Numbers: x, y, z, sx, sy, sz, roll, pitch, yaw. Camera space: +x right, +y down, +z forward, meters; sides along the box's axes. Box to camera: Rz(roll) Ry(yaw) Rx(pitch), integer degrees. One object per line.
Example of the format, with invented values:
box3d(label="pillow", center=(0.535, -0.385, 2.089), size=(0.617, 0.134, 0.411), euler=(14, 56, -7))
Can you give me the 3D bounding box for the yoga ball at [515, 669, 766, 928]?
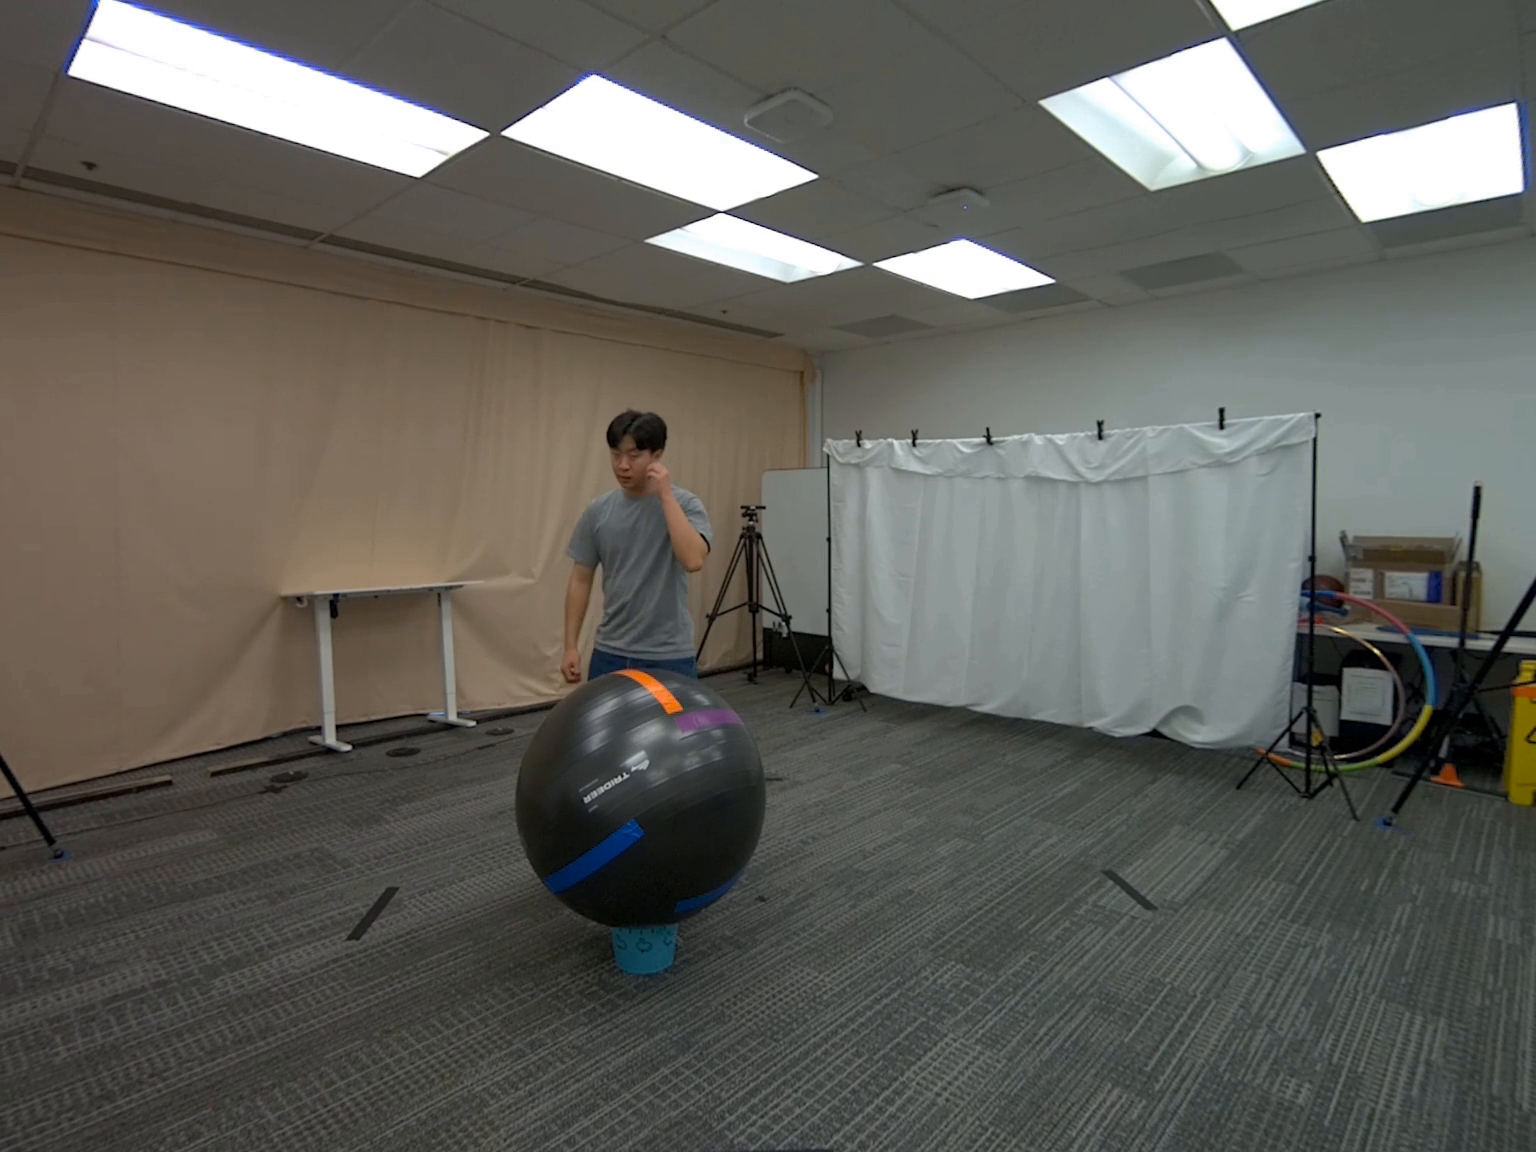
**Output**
box3d(label="yoga ball", center=(-0.394, 0.677, 2.561), size=(0.757, 0.756, 0.761), euler=(0, 4, -2))
